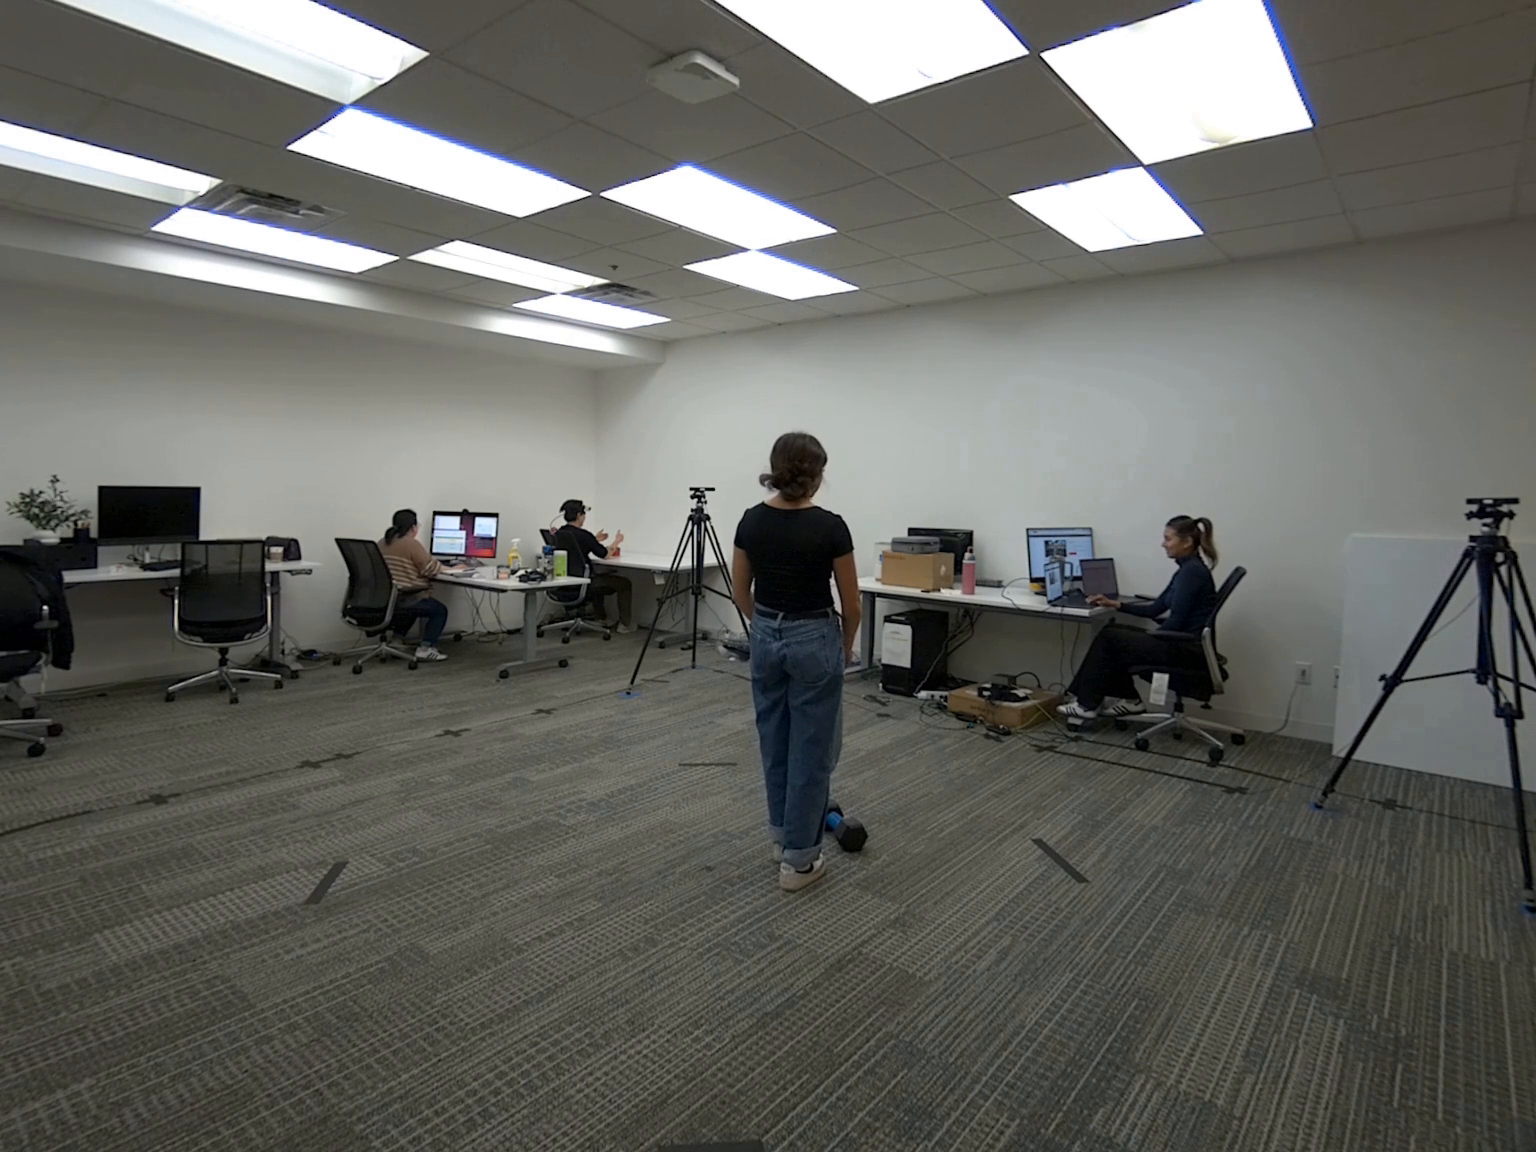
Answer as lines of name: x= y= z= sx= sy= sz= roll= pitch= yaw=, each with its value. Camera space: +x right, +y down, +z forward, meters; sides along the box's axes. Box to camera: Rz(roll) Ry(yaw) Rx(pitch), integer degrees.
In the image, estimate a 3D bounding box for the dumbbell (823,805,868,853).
dumbbell: x=0.279 y=0.994 z=3.414 sx=0.106 sy=0.123 sz=0.300 roll=32 pitch=-6 yaw=-19
